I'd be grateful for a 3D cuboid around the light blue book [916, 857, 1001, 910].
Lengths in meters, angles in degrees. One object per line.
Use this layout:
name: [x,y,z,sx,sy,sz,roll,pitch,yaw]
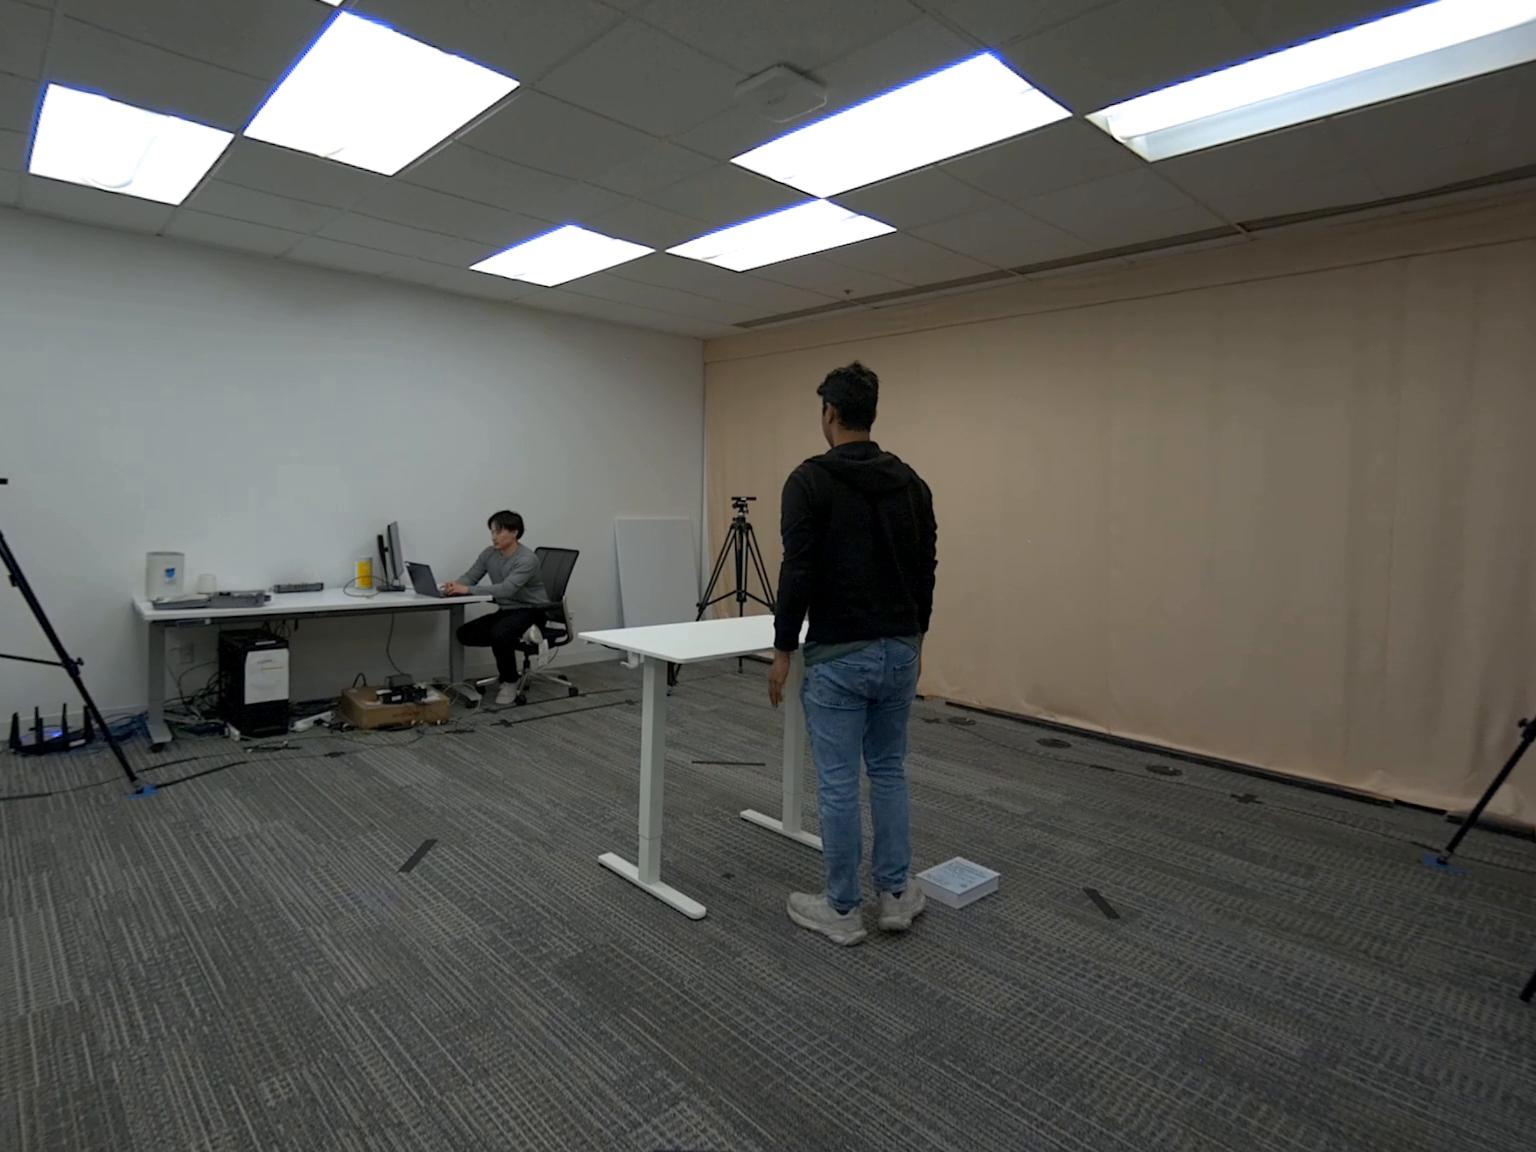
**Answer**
light blue book: [0.676,1.103,3.038,0.255,0.059,0.196,-3,7,-42]
